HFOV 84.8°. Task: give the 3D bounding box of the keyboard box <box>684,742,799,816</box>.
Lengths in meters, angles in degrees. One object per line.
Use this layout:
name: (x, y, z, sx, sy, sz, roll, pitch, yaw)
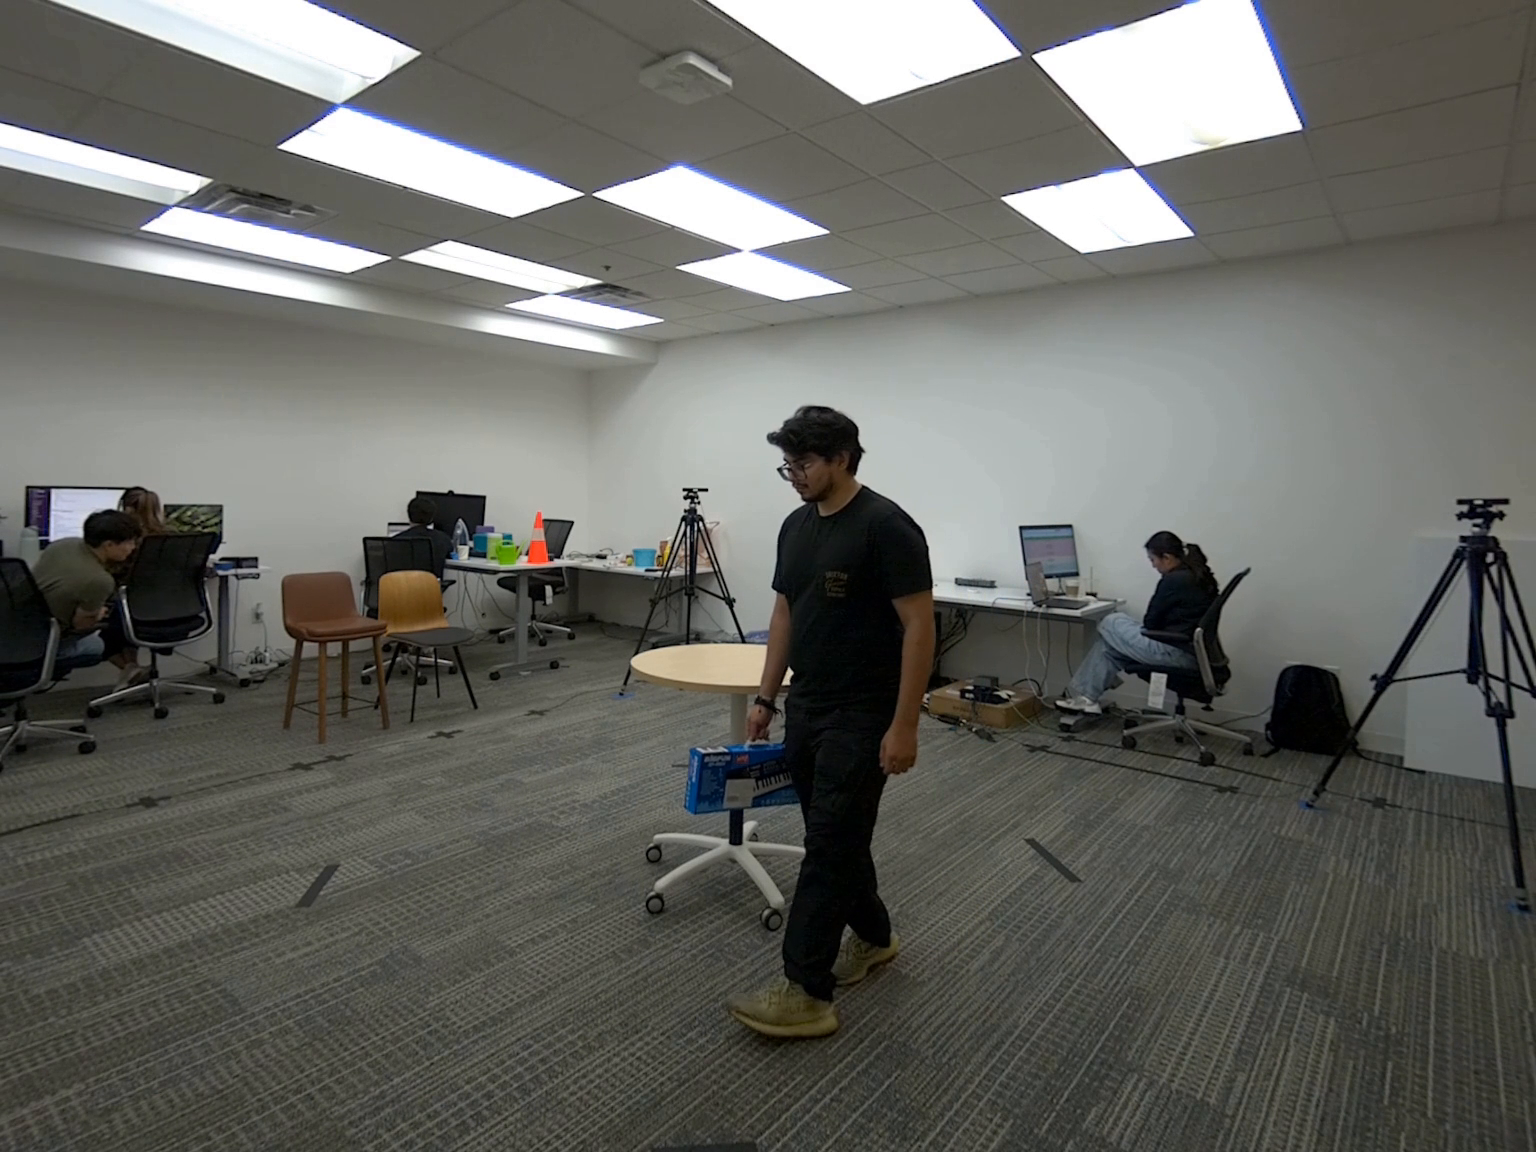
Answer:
keyboard box: (-0.038, 0.579, 2.491, 0.423, 0.176, 0.061, 6, 1, -35)
